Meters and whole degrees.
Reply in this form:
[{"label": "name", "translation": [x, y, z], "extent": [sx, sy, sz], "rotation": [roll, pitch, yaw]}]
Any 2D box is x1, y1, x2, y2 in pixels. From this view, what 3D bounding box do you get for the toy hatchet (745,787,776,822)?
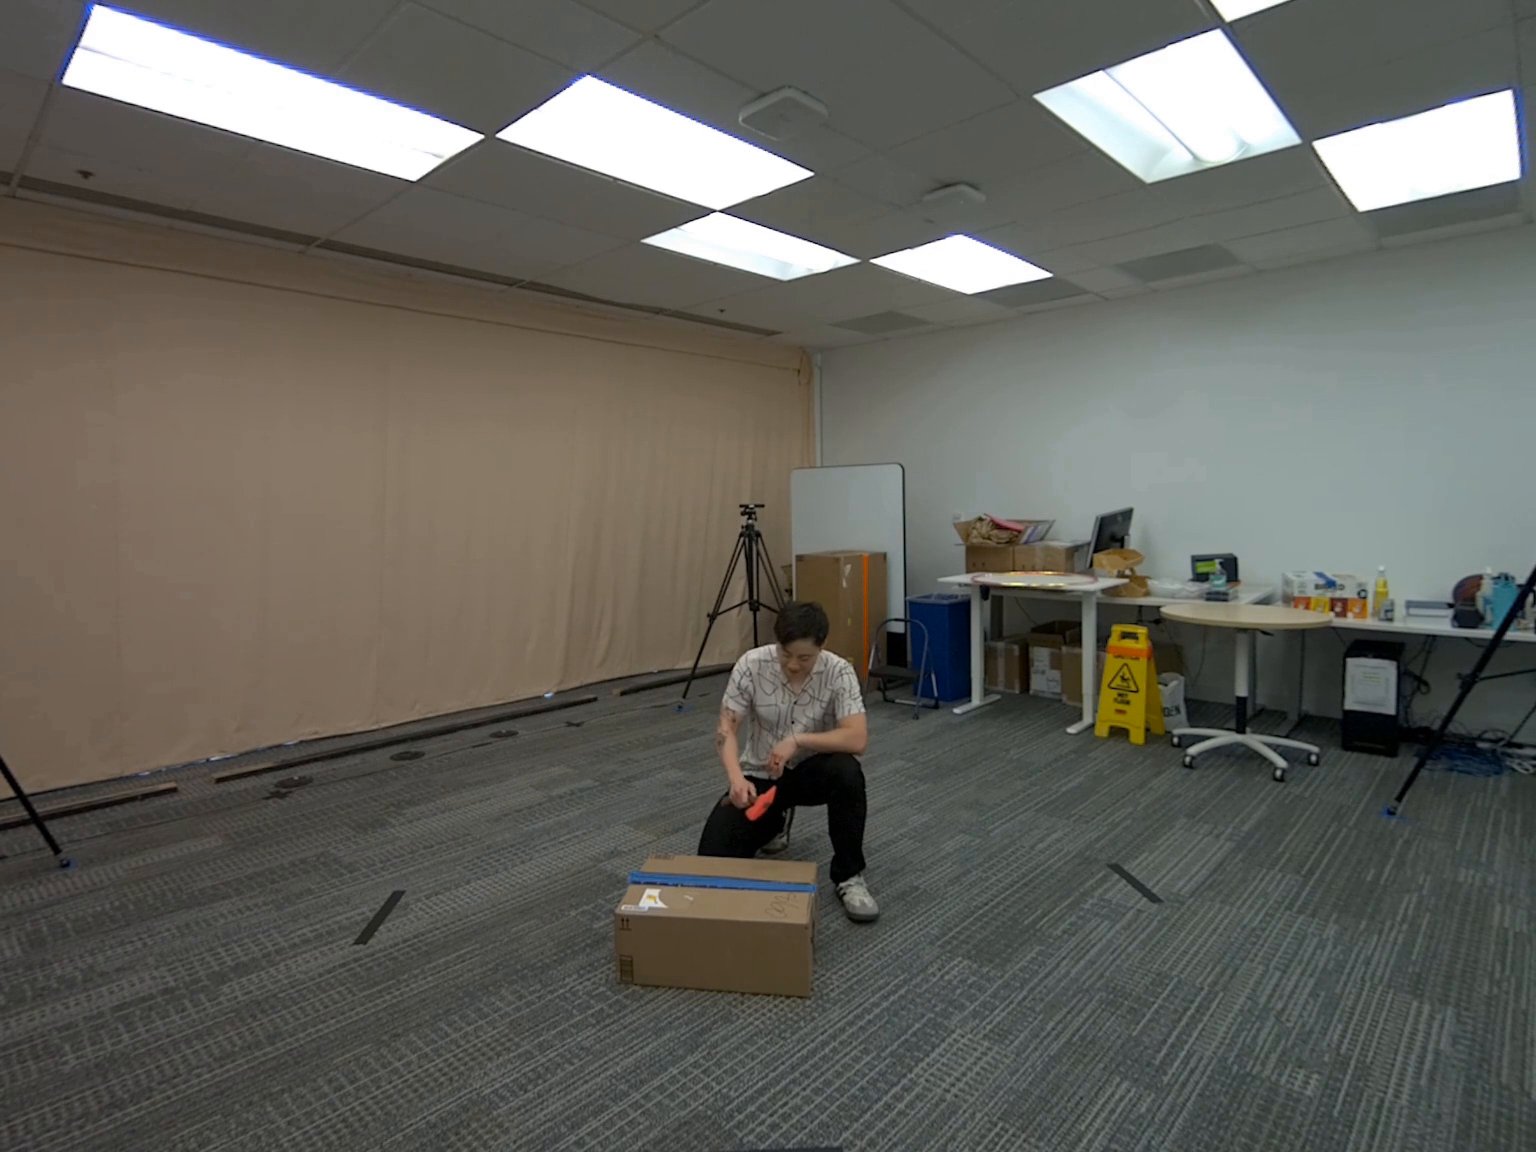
[{"label": "toy hatchet", "translation": [-0.081, 0.785, 2.855], "extent": [0.275, 0.029, 0.131], "rotation": [-26, 27, 47]}]
